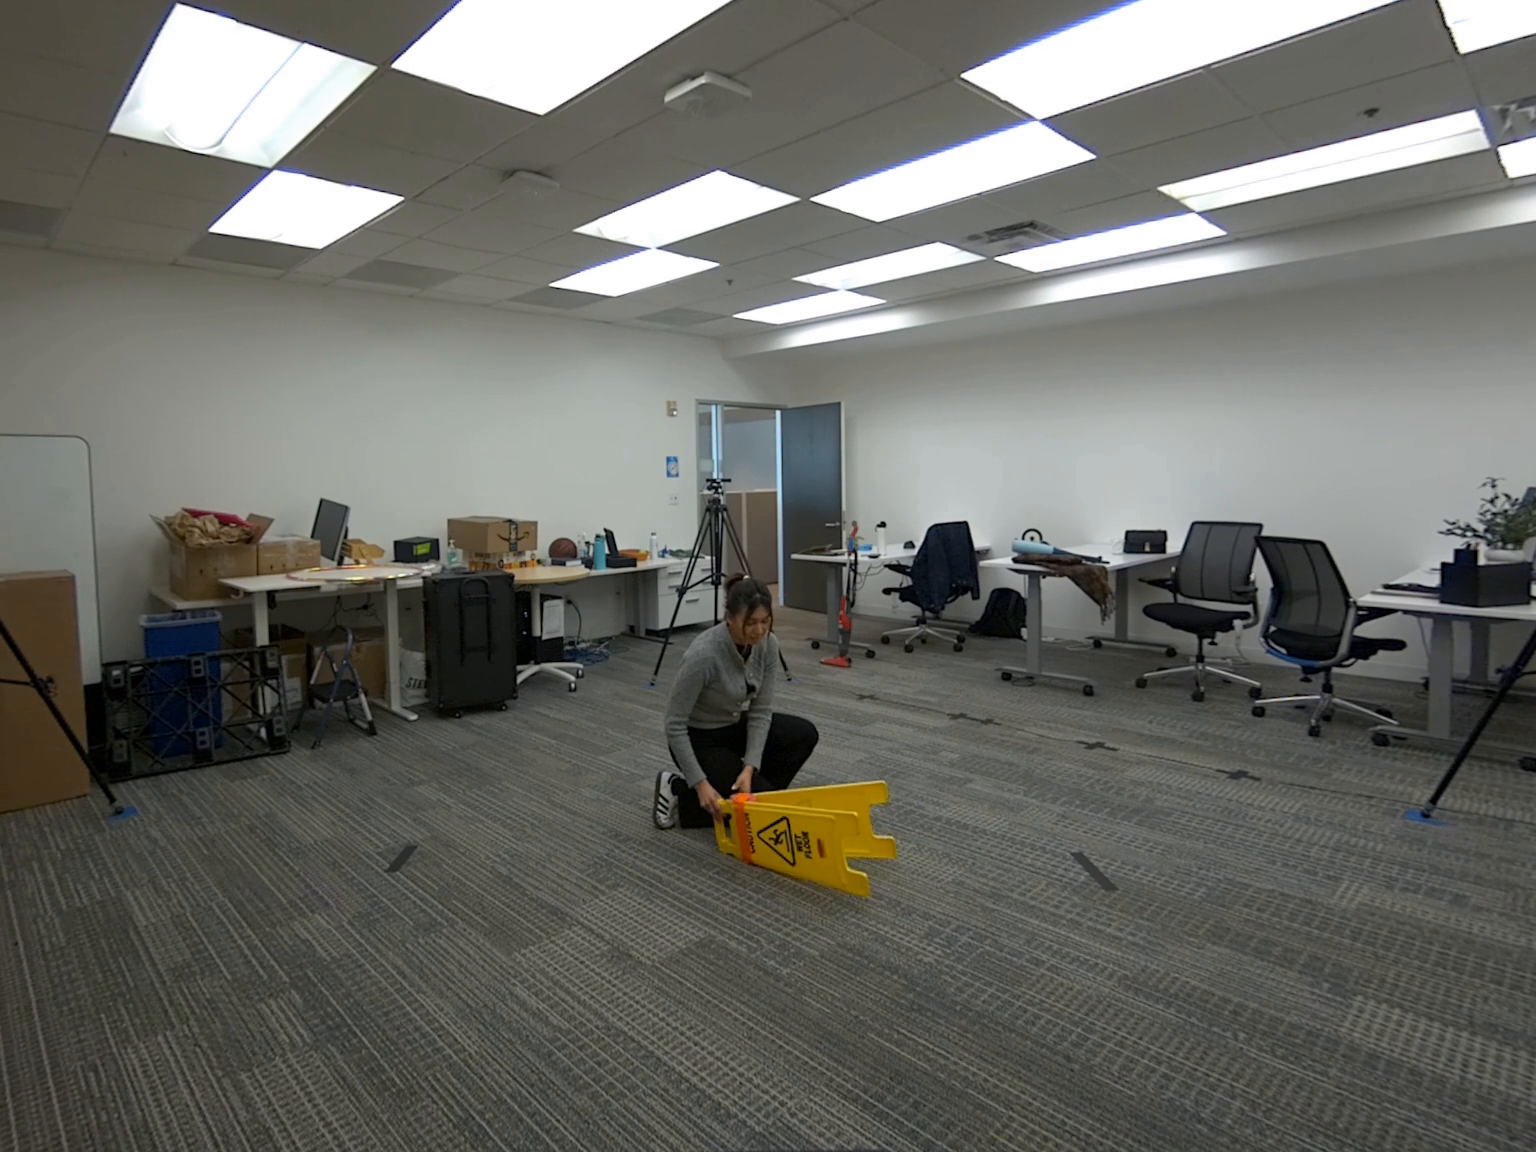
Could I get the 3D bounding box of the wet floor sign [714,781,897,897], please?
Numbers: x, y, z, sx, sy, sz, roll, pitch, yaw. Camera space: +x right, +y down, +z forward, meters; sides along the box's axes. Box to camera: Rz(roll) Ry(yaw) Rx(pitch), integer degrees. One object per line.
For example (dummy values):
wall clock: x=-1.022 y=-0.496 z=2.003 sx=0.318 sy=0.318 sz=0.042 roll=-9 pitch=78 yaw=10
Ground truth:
wet floor sign: x=0.089 y=0.913 z=3.046 sx=0.661 sy=0.281 sz=0.284 roll=-6 pitch=6 yaw=30
